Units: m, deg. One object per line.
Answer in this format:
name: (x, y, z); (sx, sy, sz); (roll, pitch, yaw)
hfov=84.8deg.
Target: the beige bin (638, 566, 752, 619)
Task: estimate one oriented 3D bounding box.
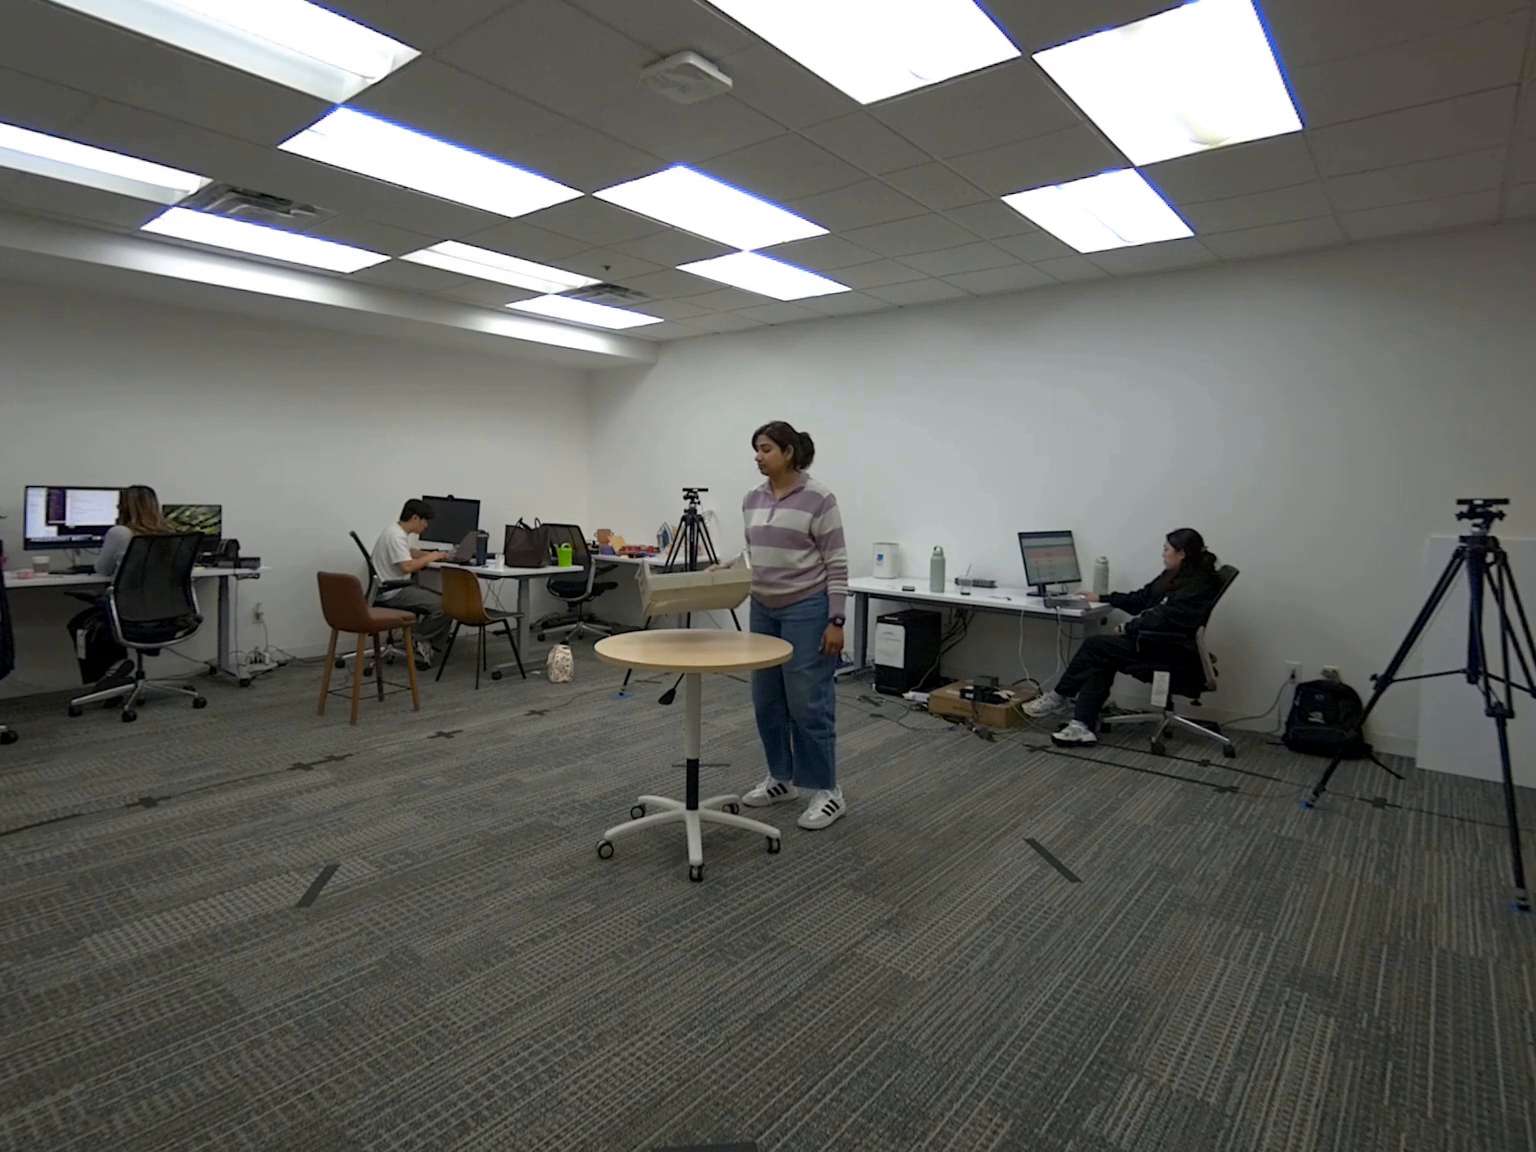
beige bin: (-0.311, 0.033, 3.457); (0.417, 0.192, 0.376); (-5, -14, -13)
